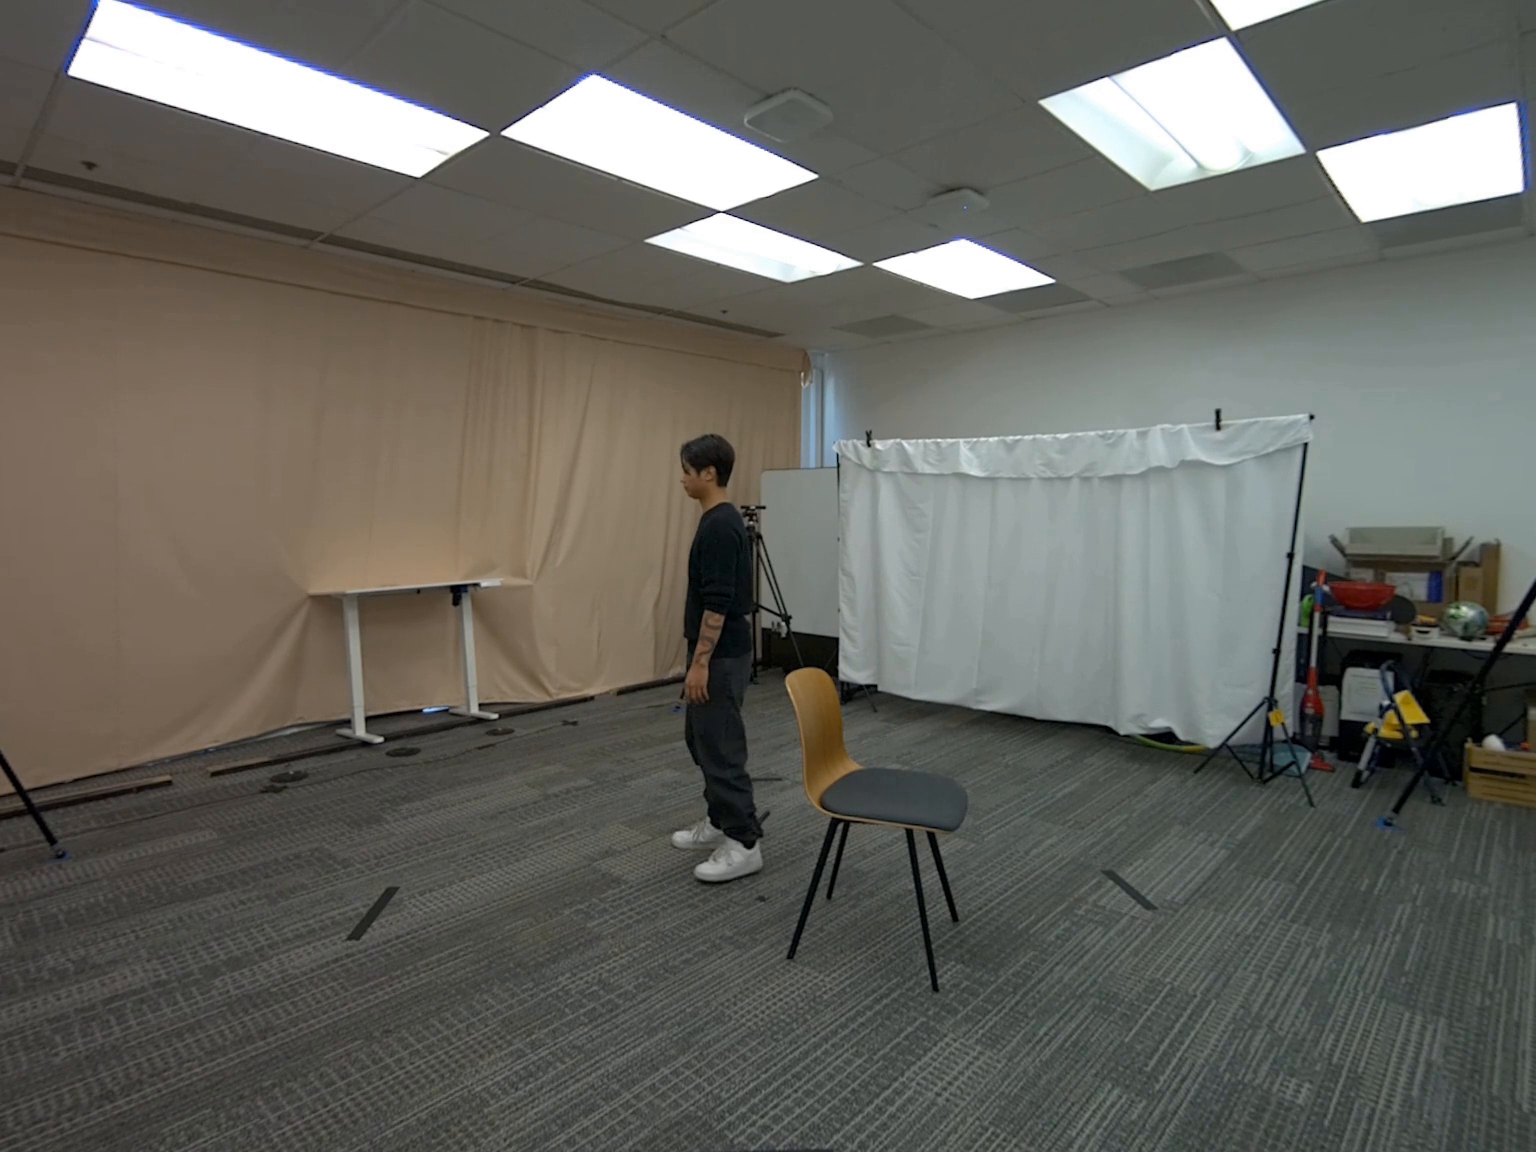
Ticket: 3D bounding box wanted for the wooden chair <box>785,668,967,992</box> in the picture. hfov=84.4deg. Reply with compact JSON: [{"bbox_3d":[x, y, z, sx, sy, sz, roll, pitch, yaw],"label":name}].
[{"bbox_3d":[0.361,0.741,2.670,0.535,0.877,0.468,-3,1,22],"label":"wooden chair"}]
